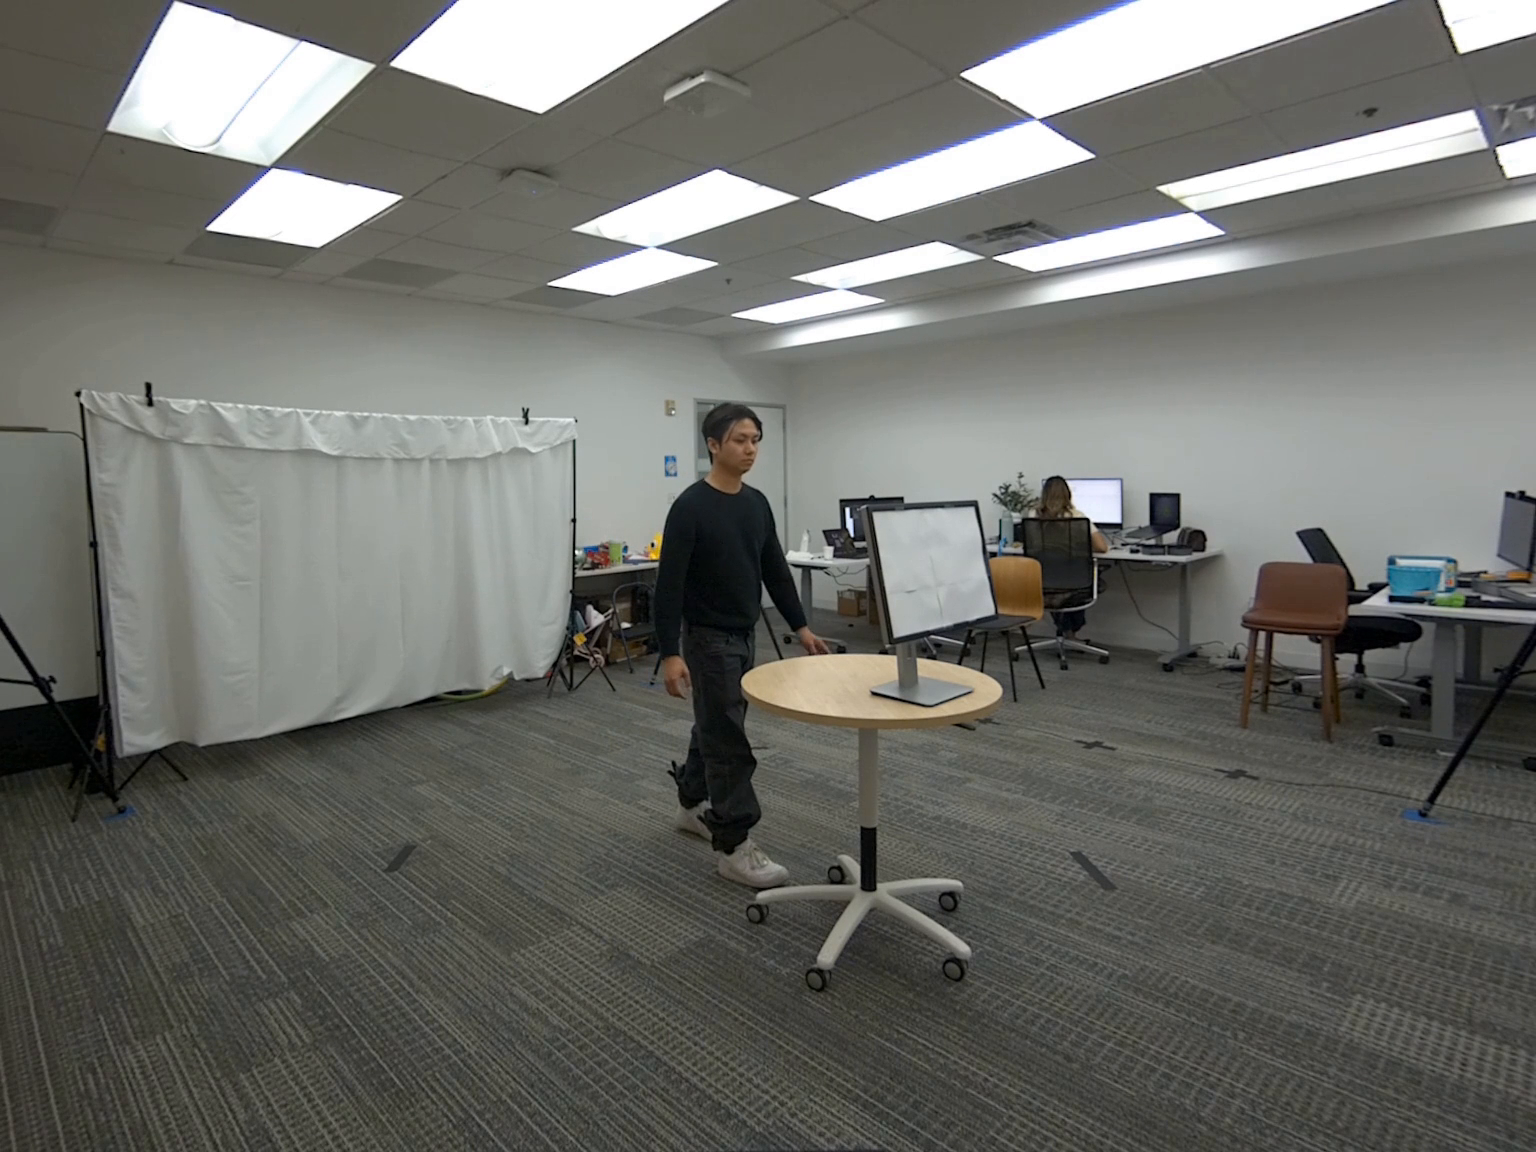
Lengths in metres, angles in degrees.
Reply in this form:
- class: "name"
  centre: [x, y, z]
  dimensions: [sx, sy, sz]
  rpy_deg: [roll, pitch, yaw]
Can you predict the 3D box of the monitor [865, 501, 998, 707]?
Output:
- class: "monitor"
  centre: [0.448, 0.070, 2.413]
  dimensions: [0.193, 0.520, 0.525]
  rpy_deg: [5, 8, 41]
